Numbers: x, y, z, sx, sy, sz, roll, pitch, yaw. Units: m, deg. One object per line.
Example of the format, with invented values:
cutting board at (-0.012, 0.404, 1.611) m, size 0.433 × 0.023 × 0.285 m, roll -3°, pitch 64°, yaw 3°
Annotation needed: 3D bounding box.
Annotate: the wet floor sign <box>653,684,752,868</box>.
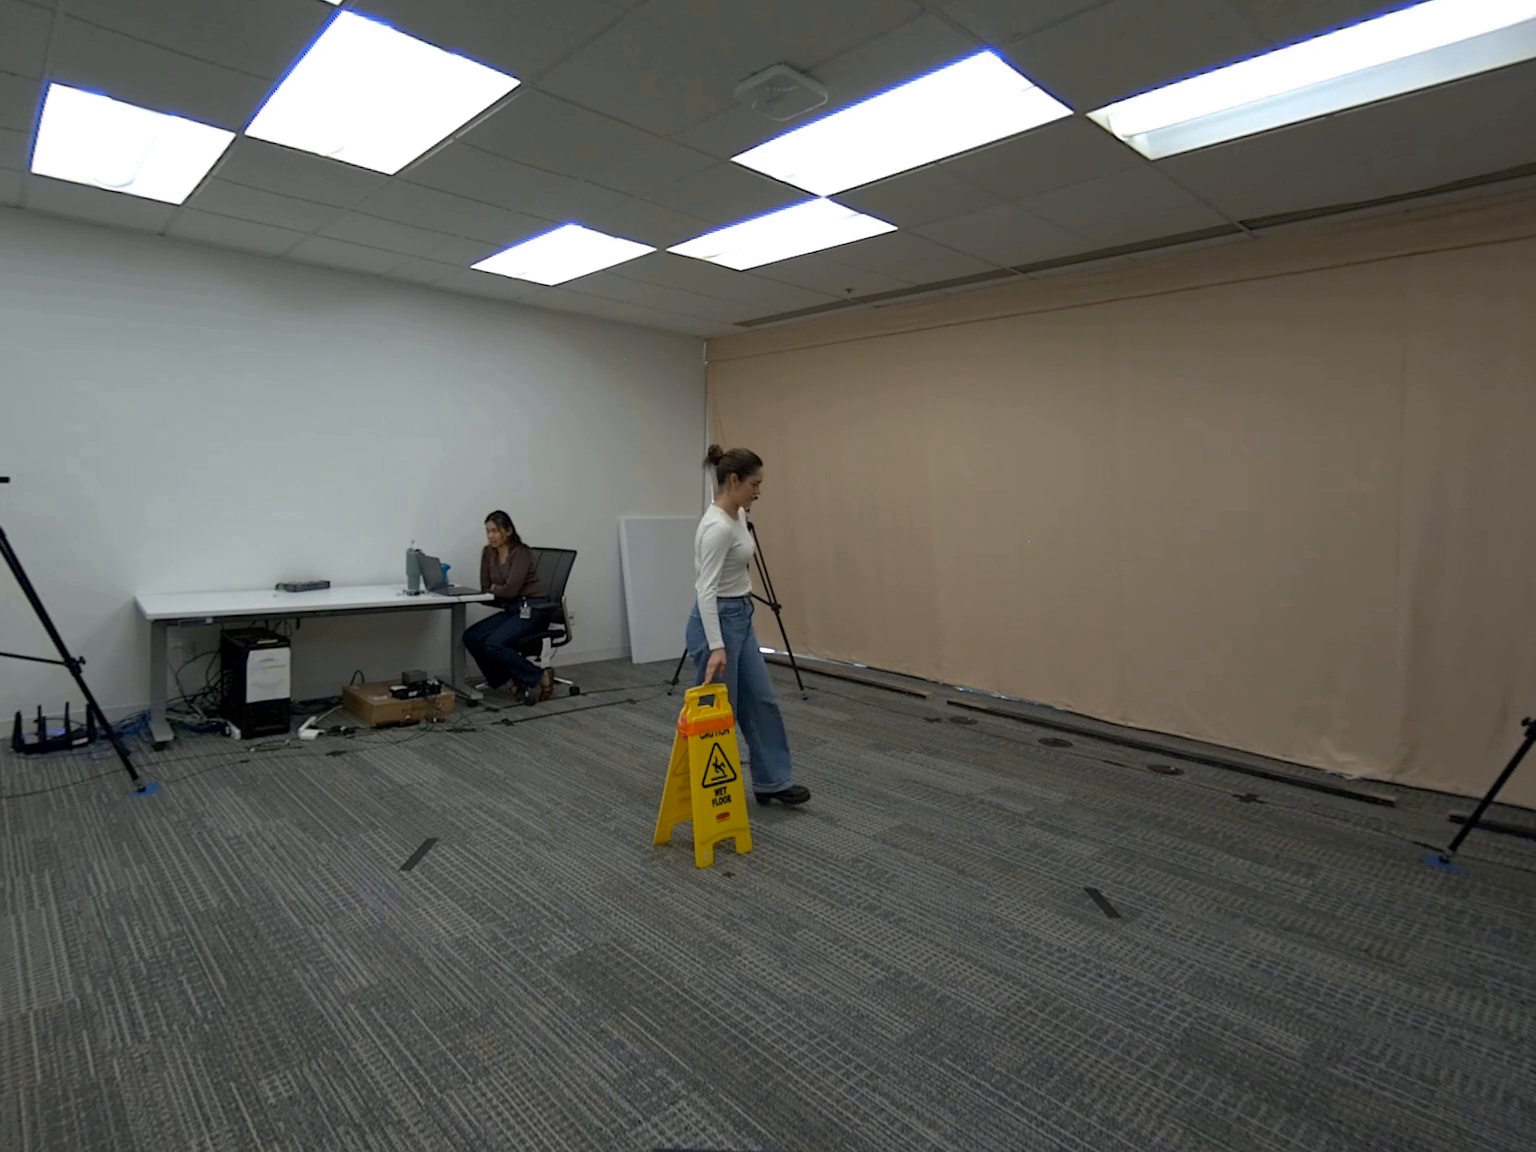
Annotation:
wet floor sign at (-0.266, 0.757, 3.323) m, size 0.276 × 0.645 × 0.297 m, roll -1°, pitch 4°, yaw -44°
